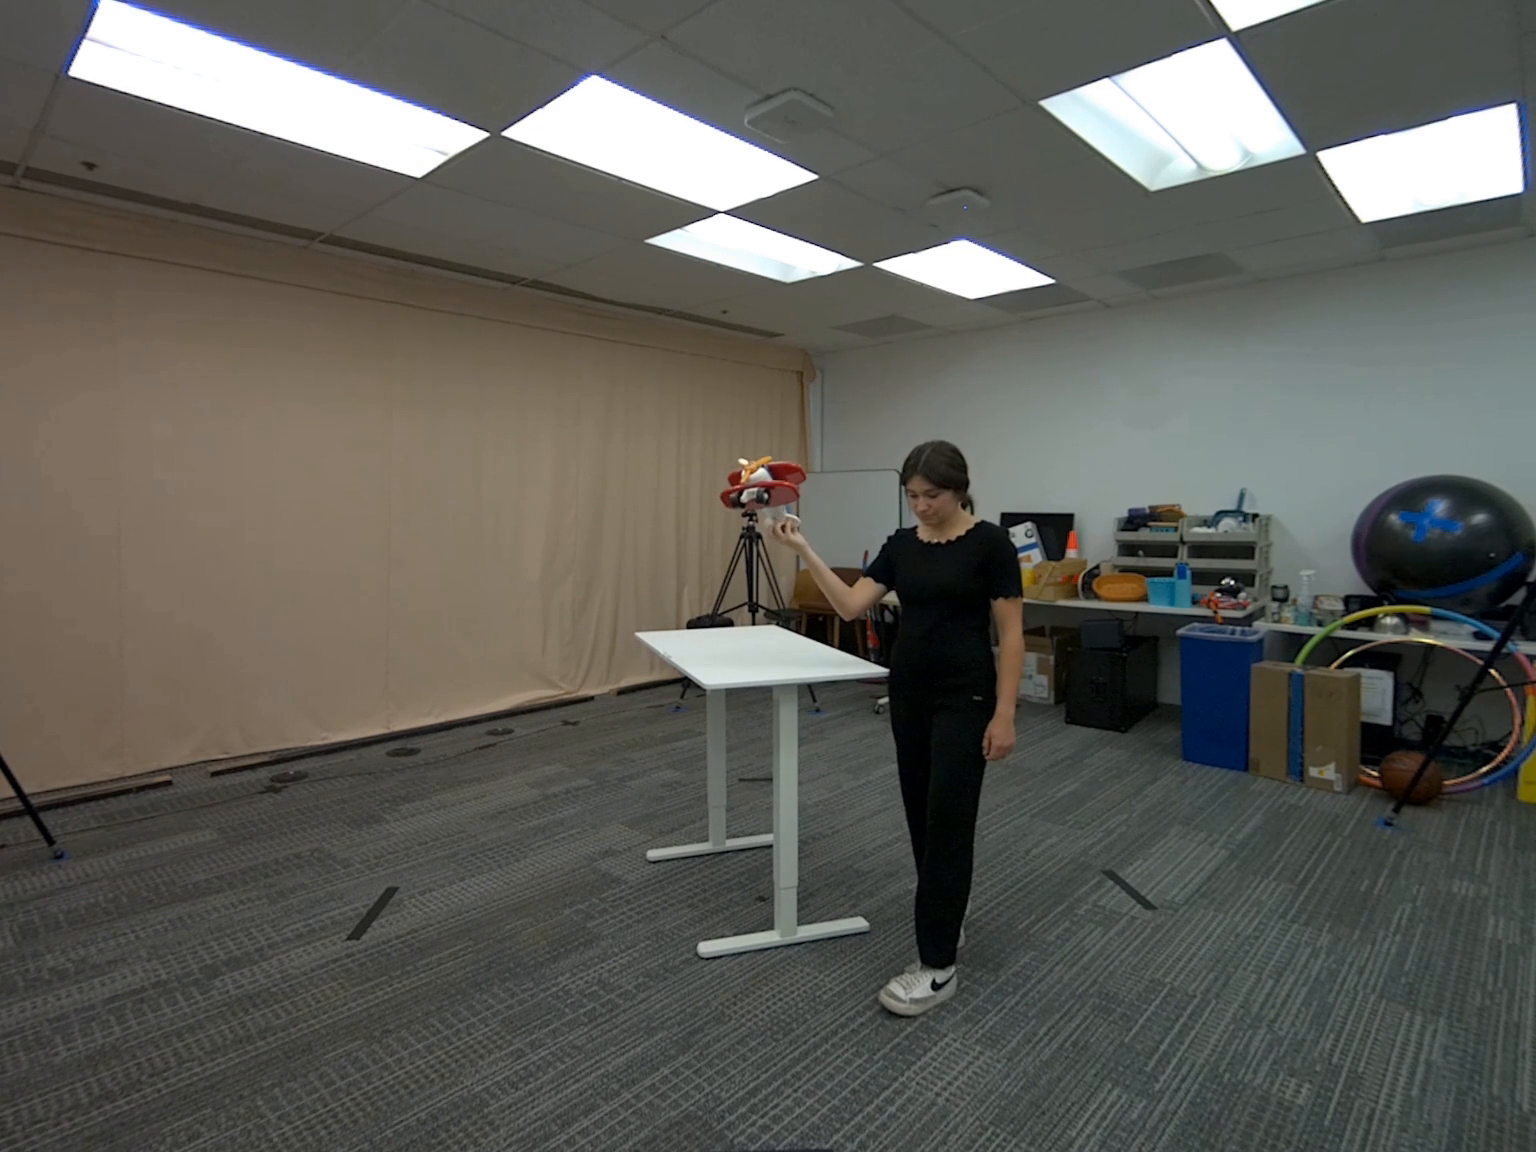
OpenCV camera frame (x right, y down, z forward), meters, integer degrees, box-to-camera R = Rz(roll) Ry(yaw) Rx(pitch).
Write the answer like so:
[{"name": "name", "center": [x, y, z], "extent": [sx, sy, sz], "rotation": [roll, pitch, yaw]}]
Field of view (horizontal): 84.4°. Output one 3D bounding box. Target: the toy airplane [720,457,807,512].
[{"name": "toy airplane", "center": [-0.013, -0.235, 2.530], "extent": [0.253, 0.158, 0.255], "rotation": [10, -26, 7]}]
